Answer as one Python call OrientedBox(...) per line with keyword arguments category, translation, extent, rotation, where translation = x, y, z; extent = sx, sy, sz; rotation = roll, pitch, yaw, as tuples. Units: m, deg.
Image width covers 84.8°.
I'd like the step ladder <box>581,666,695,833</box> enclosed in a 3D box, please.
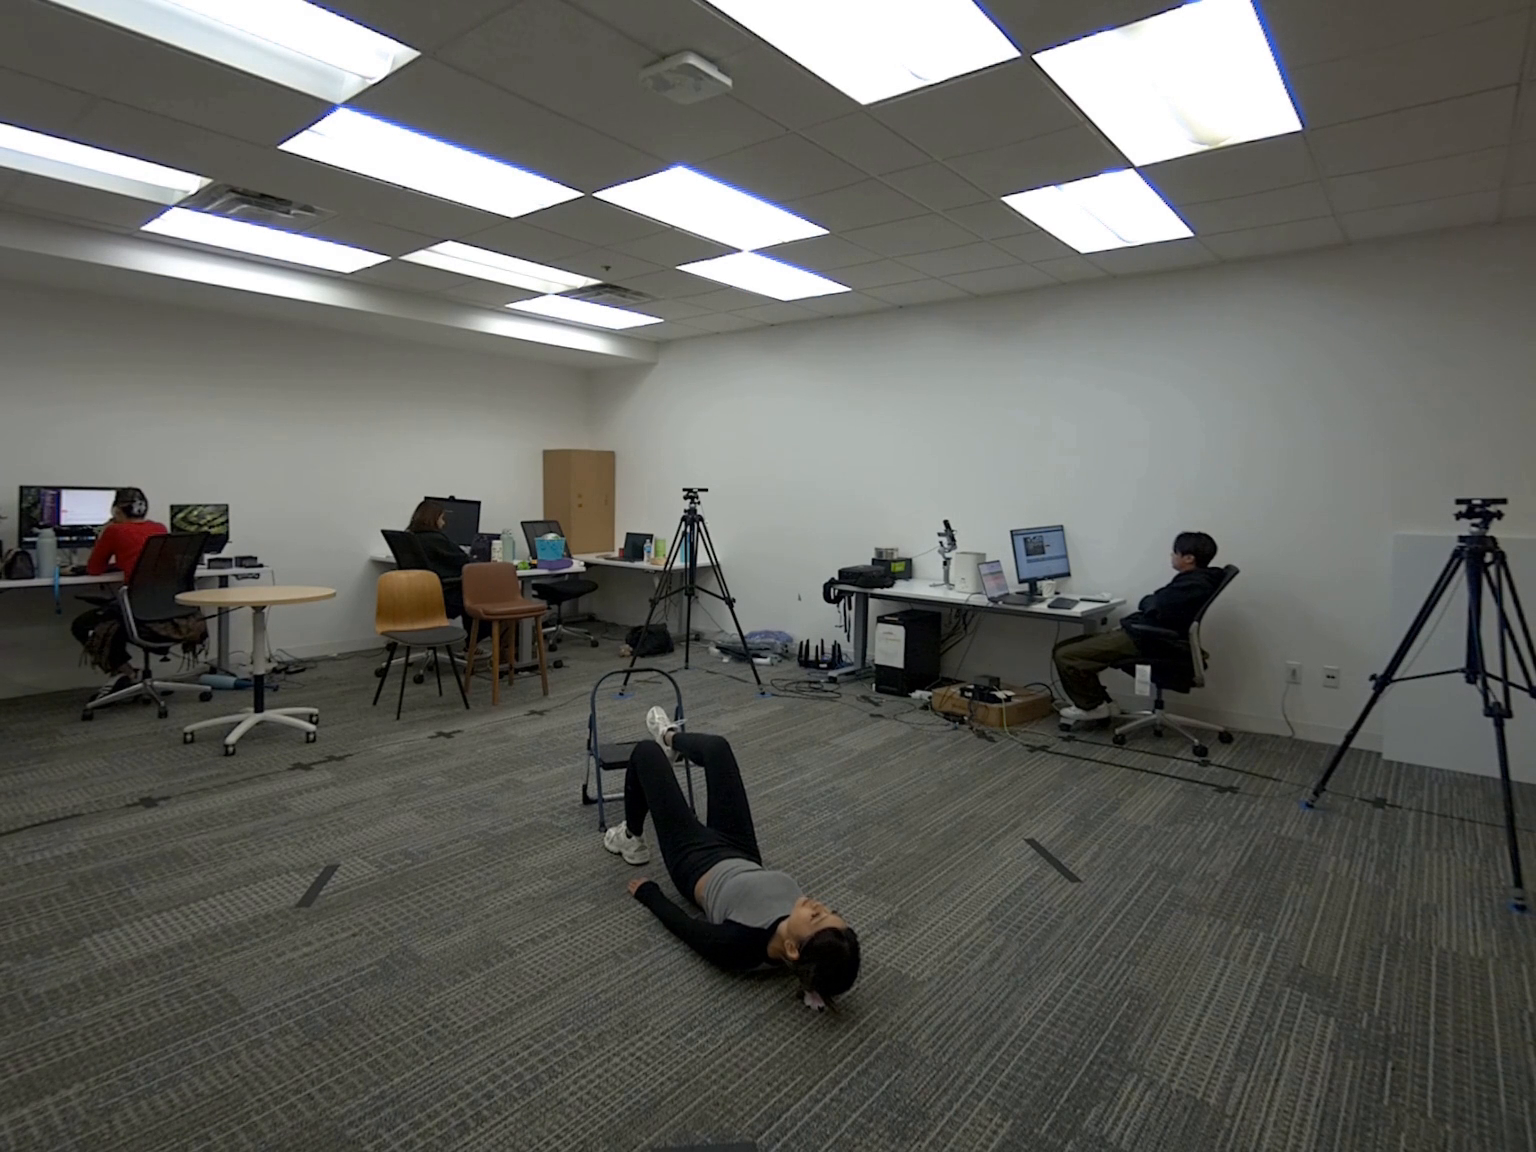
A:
OrientedBox(category="step ladder", translation=(-0.571, 0.709, 3.654), extent=(0.420, 0.604, 0.359), rotation=(-1, 4, -25))
